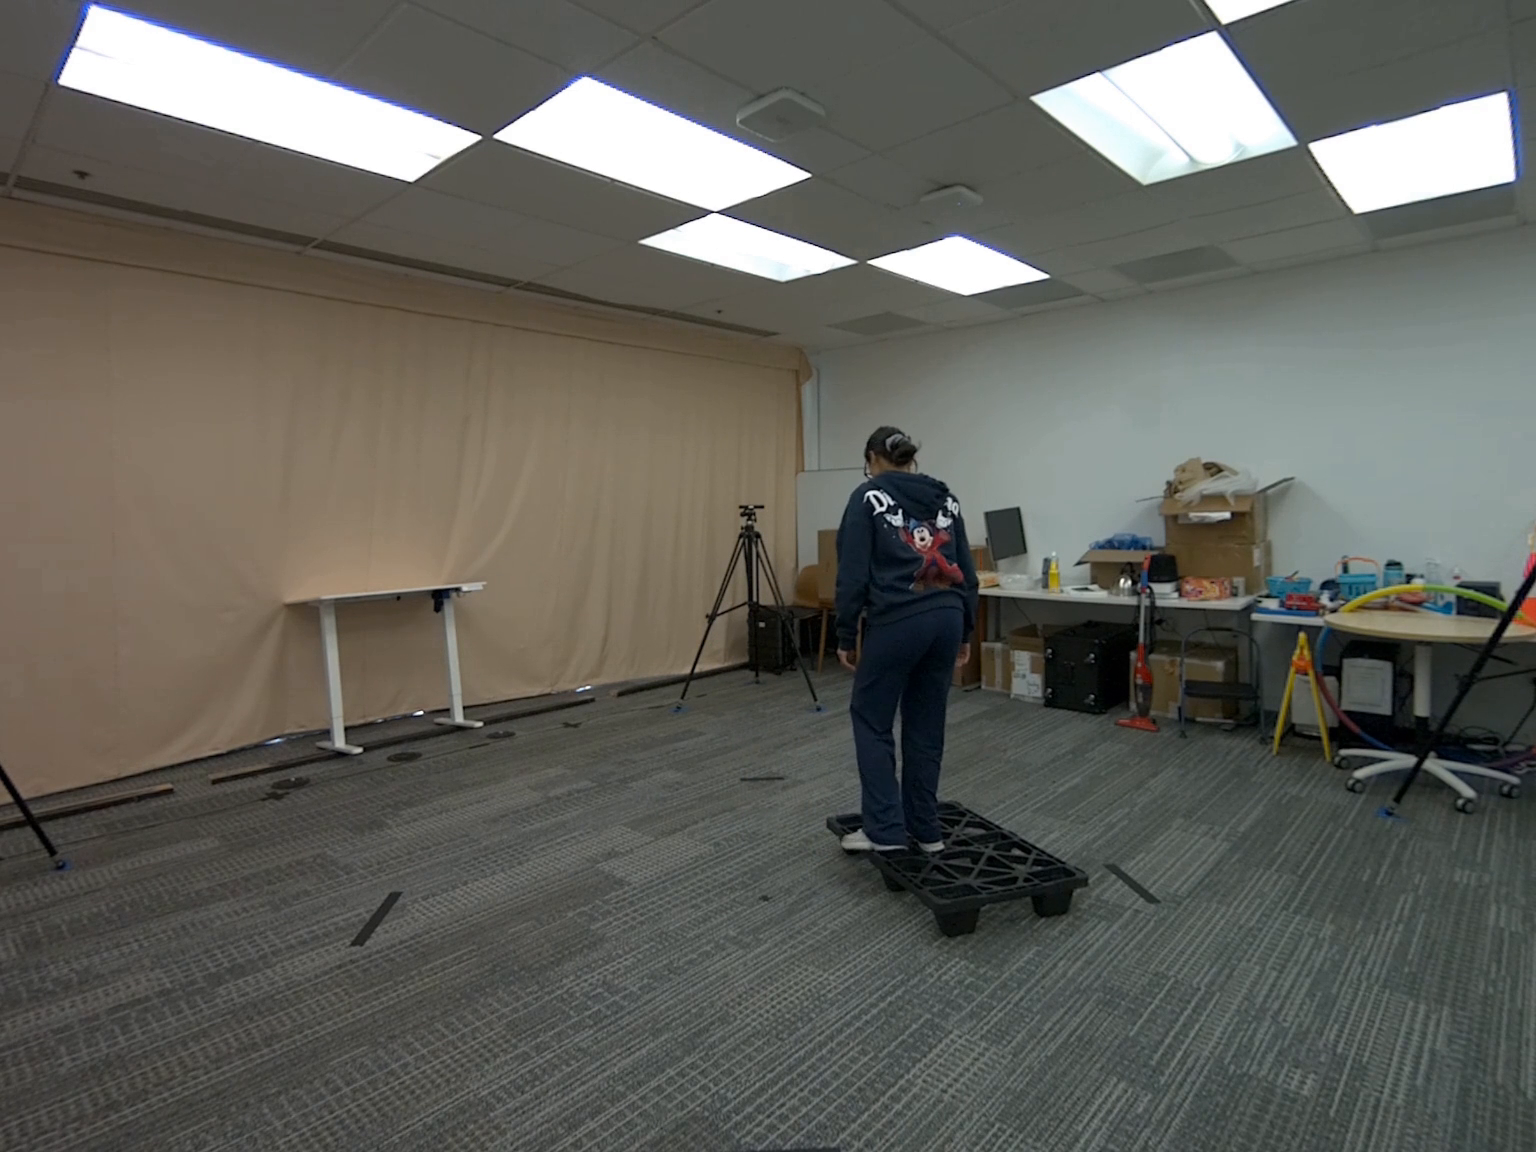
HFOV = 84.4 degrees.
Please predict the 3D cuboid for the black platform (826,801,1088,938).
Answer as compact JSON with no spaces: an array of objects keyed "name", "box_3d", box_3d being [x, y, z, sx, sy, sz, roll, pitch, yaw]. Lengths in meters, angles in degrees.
[{"name":"black platform","box_3d":[0.658,1.052,3.093,0.593,0.143,0.823,-3,5,-20]}]
